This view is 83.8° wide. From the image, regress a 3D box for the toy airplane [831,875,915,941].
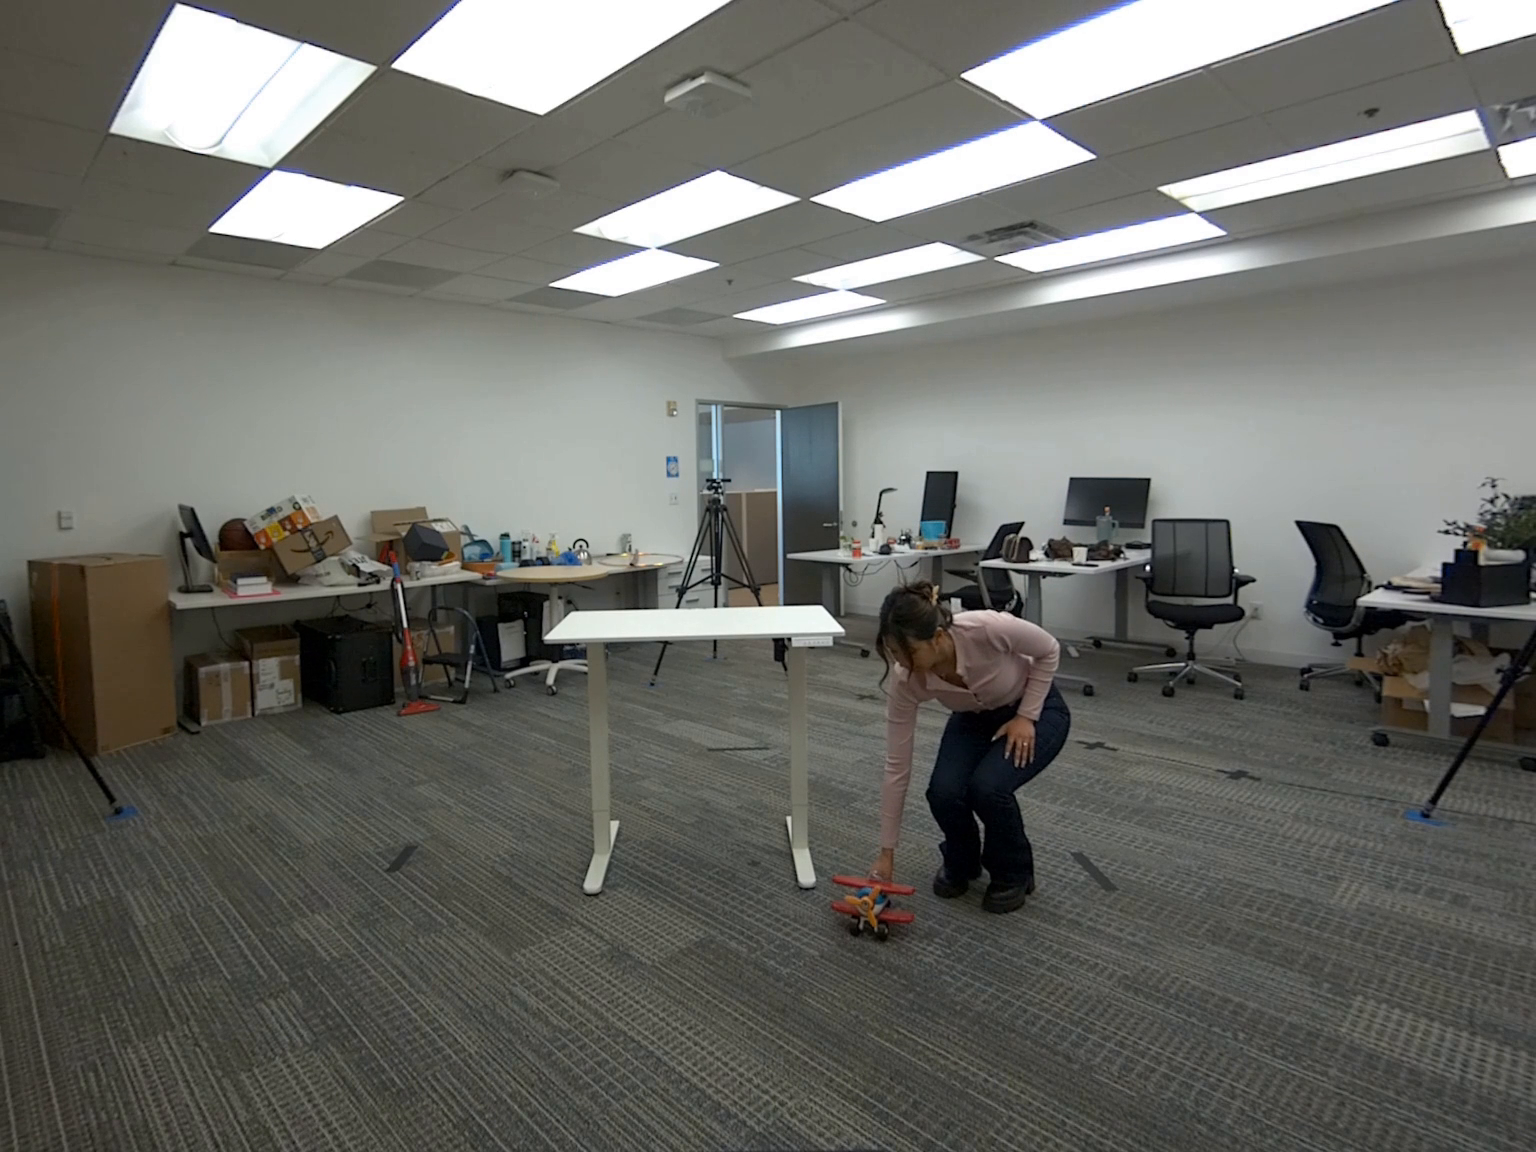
[{"bbox_3d":[0.325,1.013,2.675,0.249,0.155,0.263,-3,8,-9],"label":"toy airplane"}]
